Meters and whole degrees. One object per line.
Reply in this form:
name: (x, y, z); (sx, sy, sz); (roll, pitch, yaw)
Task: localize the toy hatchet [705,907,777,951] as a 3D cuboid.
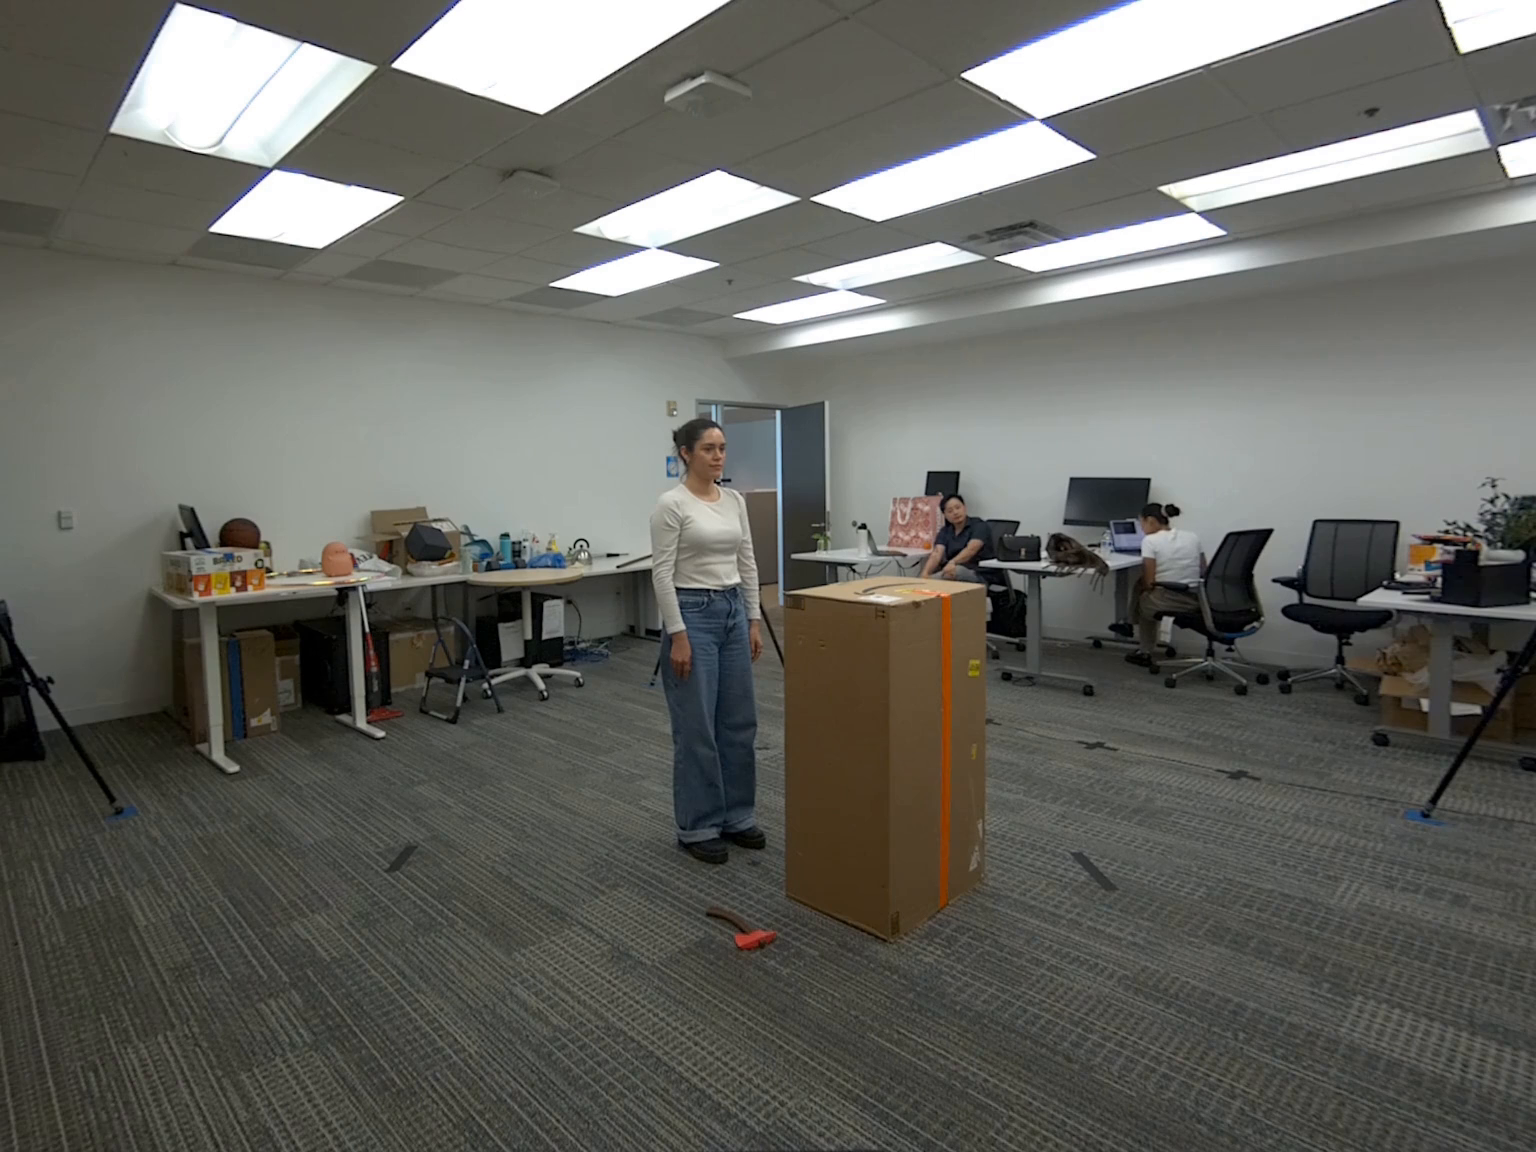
toy hatchet: (-0.110, 1.093, 2.638); (0.278, 0.029, 0.128); (3, 10, 41)
